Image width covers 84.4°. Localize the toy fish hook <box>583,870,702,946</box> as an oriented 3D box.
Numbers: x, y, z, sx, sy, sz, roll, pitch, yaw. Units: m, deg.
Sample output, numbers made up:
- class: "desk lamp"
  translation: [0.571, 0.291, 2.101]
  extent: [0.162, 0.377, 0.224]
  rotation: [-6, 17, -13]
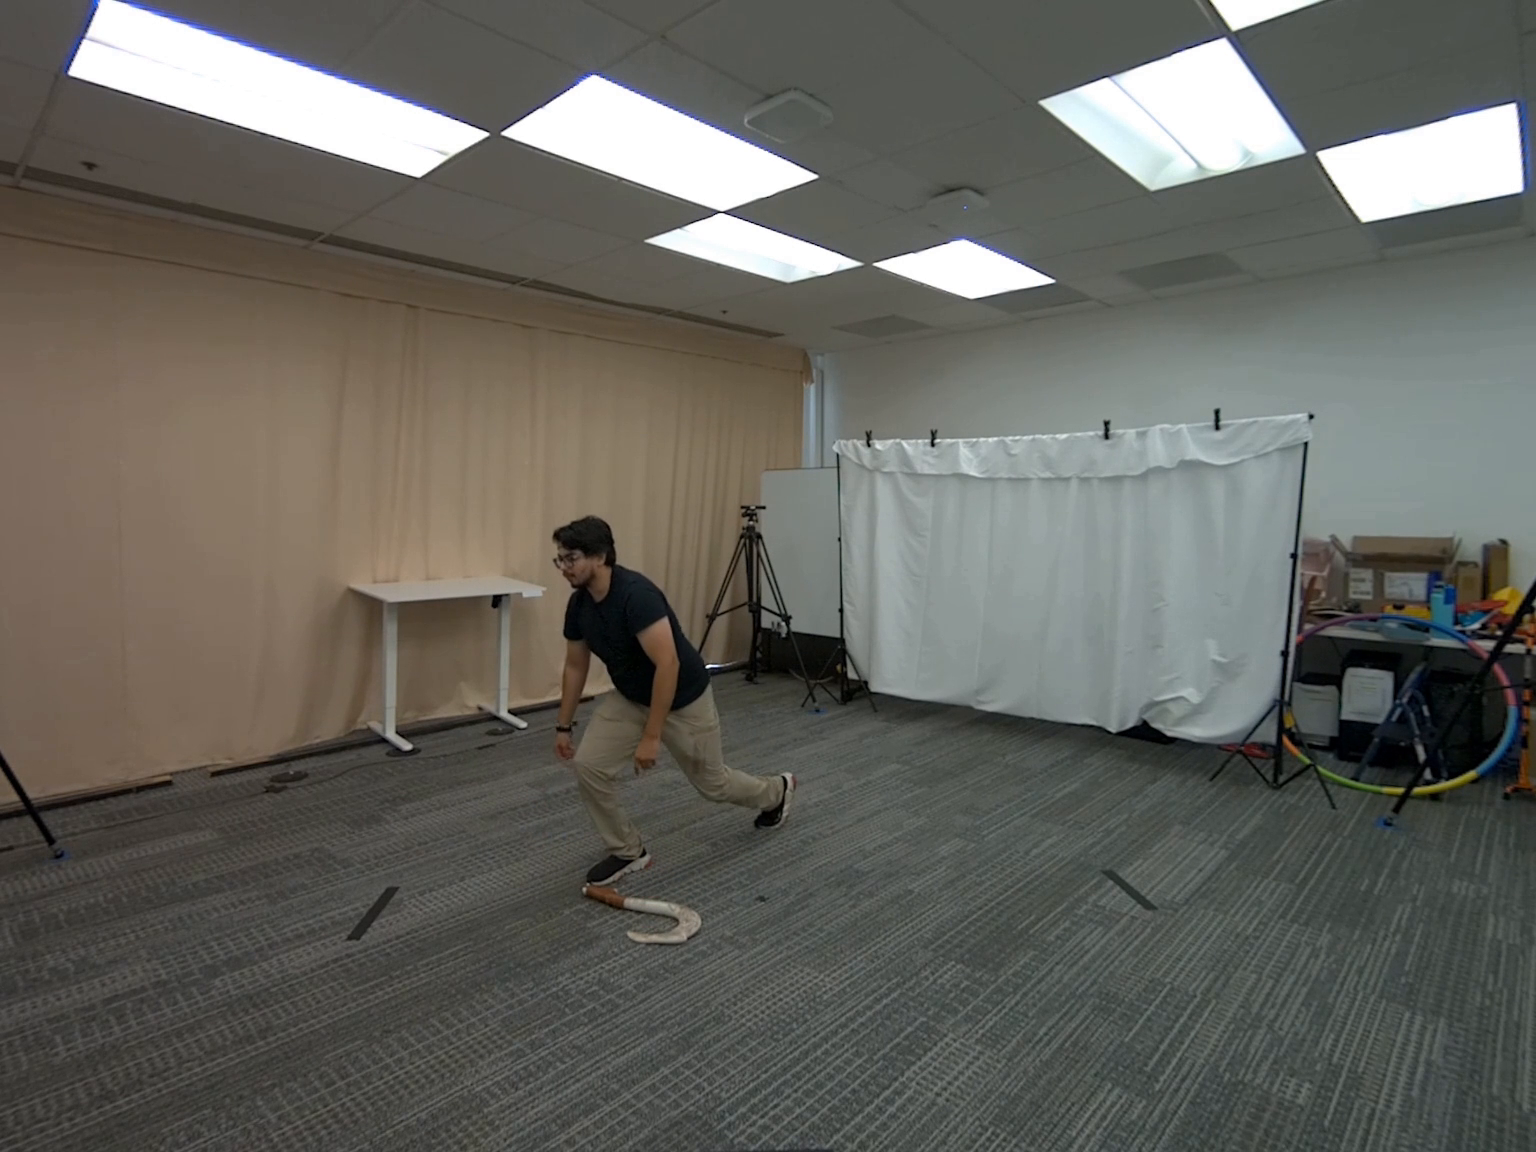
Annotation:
- class: "toy fish hook"
  translation: [-0.465, 1.137, 2.841]
  extent: [0.521, 0.048, 0.218]
  rotation: [2, 4, 31]
